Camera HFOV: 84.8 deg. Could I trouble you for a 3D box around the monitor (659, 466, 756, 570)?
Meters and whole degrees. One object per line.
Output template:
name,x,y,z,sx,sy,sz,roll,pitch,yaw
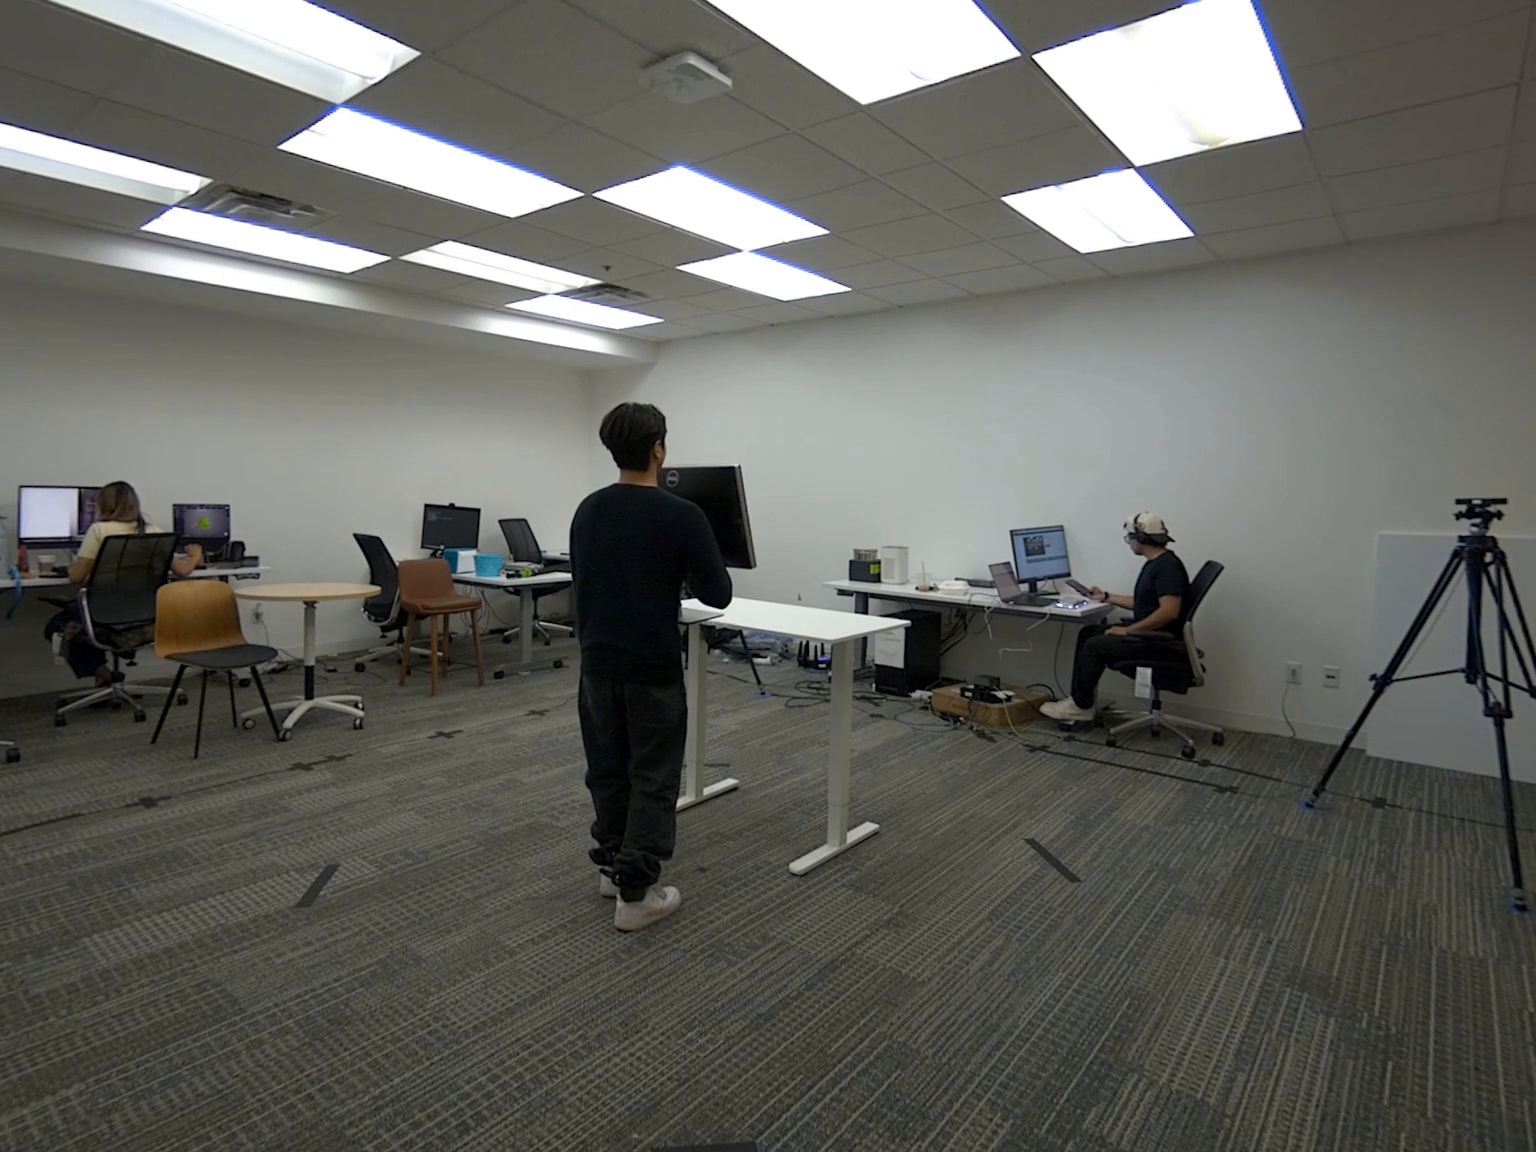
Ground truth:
monitor,-0.320,-0.126,3.011,0.547,0.516,0.169,2,1,40
